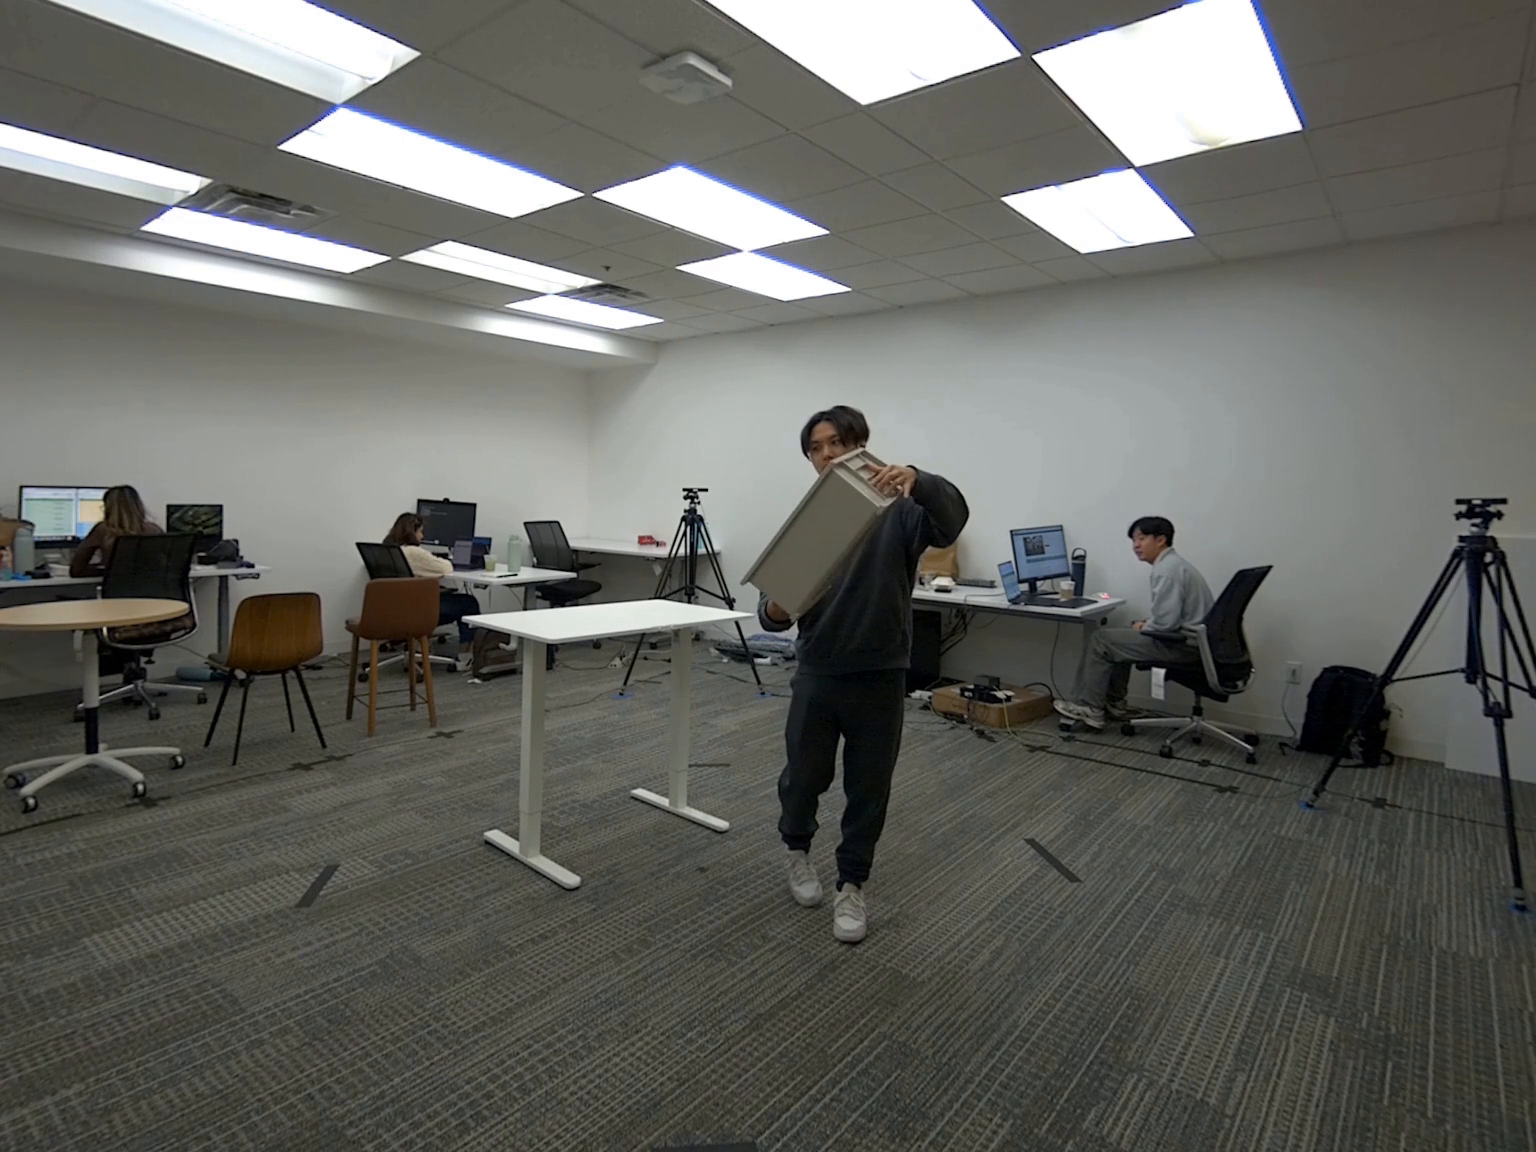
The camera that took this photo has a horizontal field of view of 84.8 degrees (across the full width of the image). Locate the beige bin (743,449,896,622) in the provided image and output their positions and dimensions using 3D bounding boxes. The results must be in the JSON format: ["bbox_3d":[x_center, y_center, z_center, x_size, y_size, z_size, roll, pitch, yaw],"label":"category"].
[{"bbox_3d":[0.157,-0.121,2.350,0.191,0.421,0.374,41,22,6],"label":"beige bin"}]
